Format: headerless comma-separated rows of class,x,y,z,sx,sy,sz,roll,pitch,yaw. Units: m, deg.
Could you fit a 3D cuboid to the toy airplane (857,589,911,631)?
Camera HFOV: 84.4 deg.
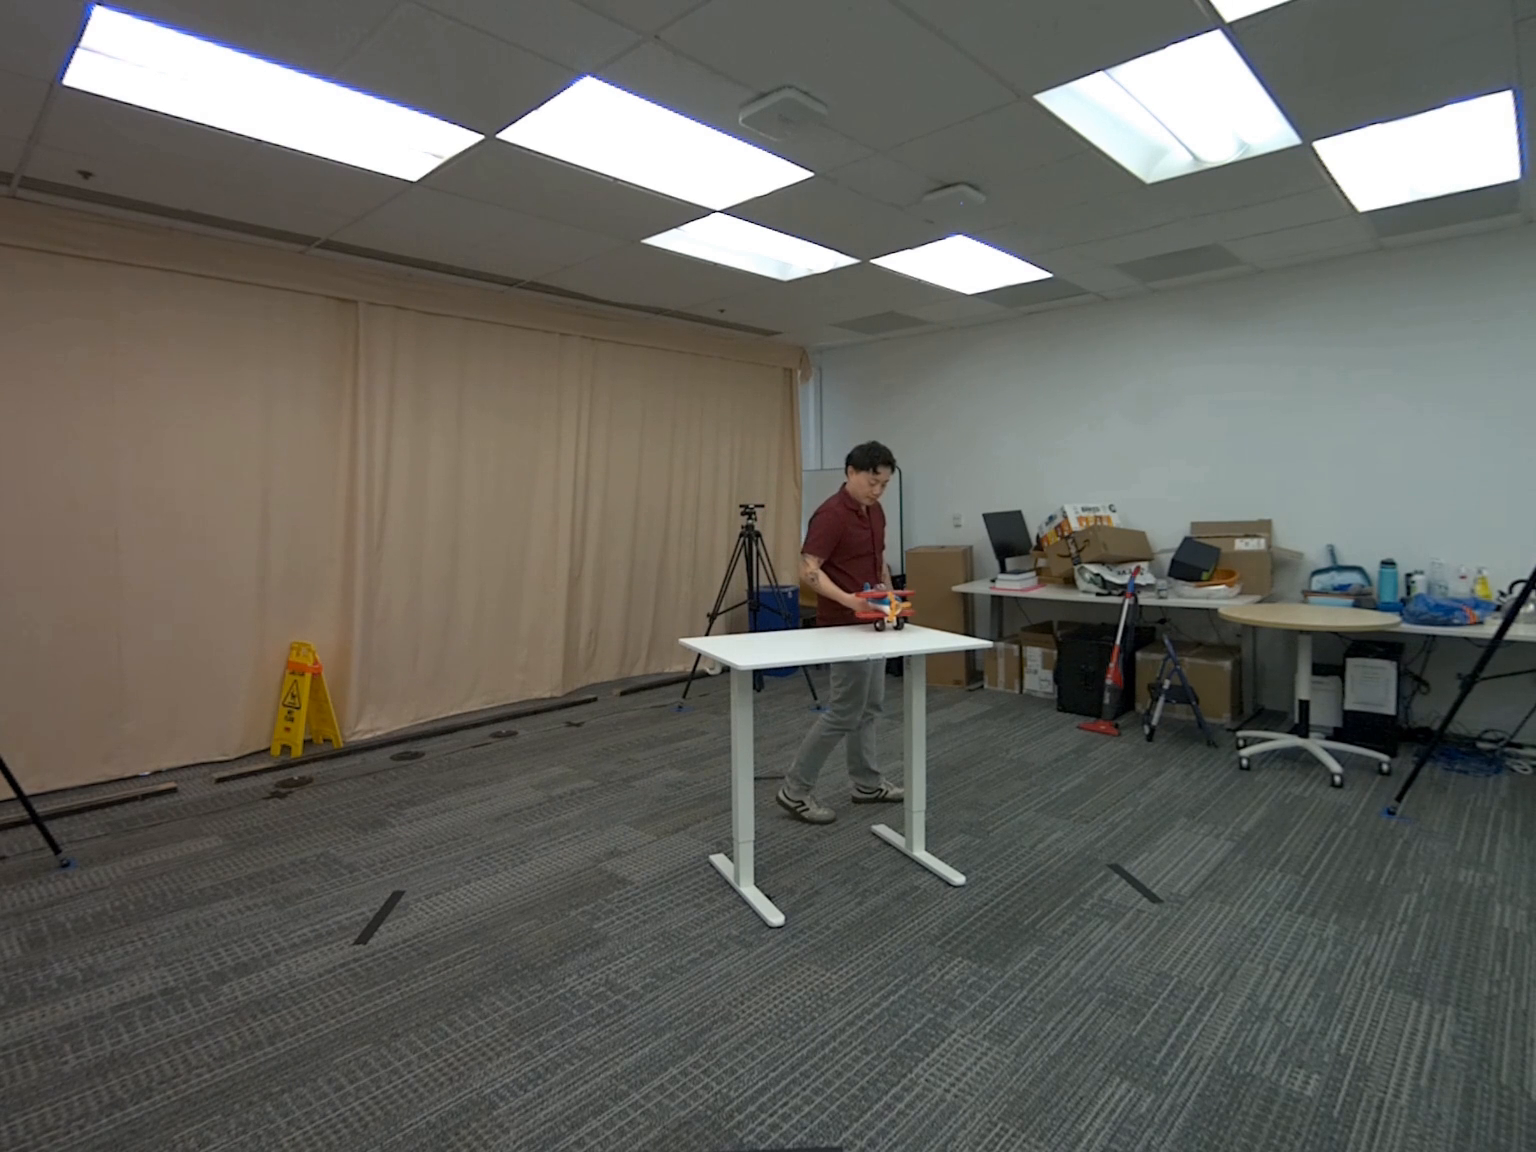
toy airplane,0.439,0.118,3.413,0.268,0.155,0.244,19,22,37
